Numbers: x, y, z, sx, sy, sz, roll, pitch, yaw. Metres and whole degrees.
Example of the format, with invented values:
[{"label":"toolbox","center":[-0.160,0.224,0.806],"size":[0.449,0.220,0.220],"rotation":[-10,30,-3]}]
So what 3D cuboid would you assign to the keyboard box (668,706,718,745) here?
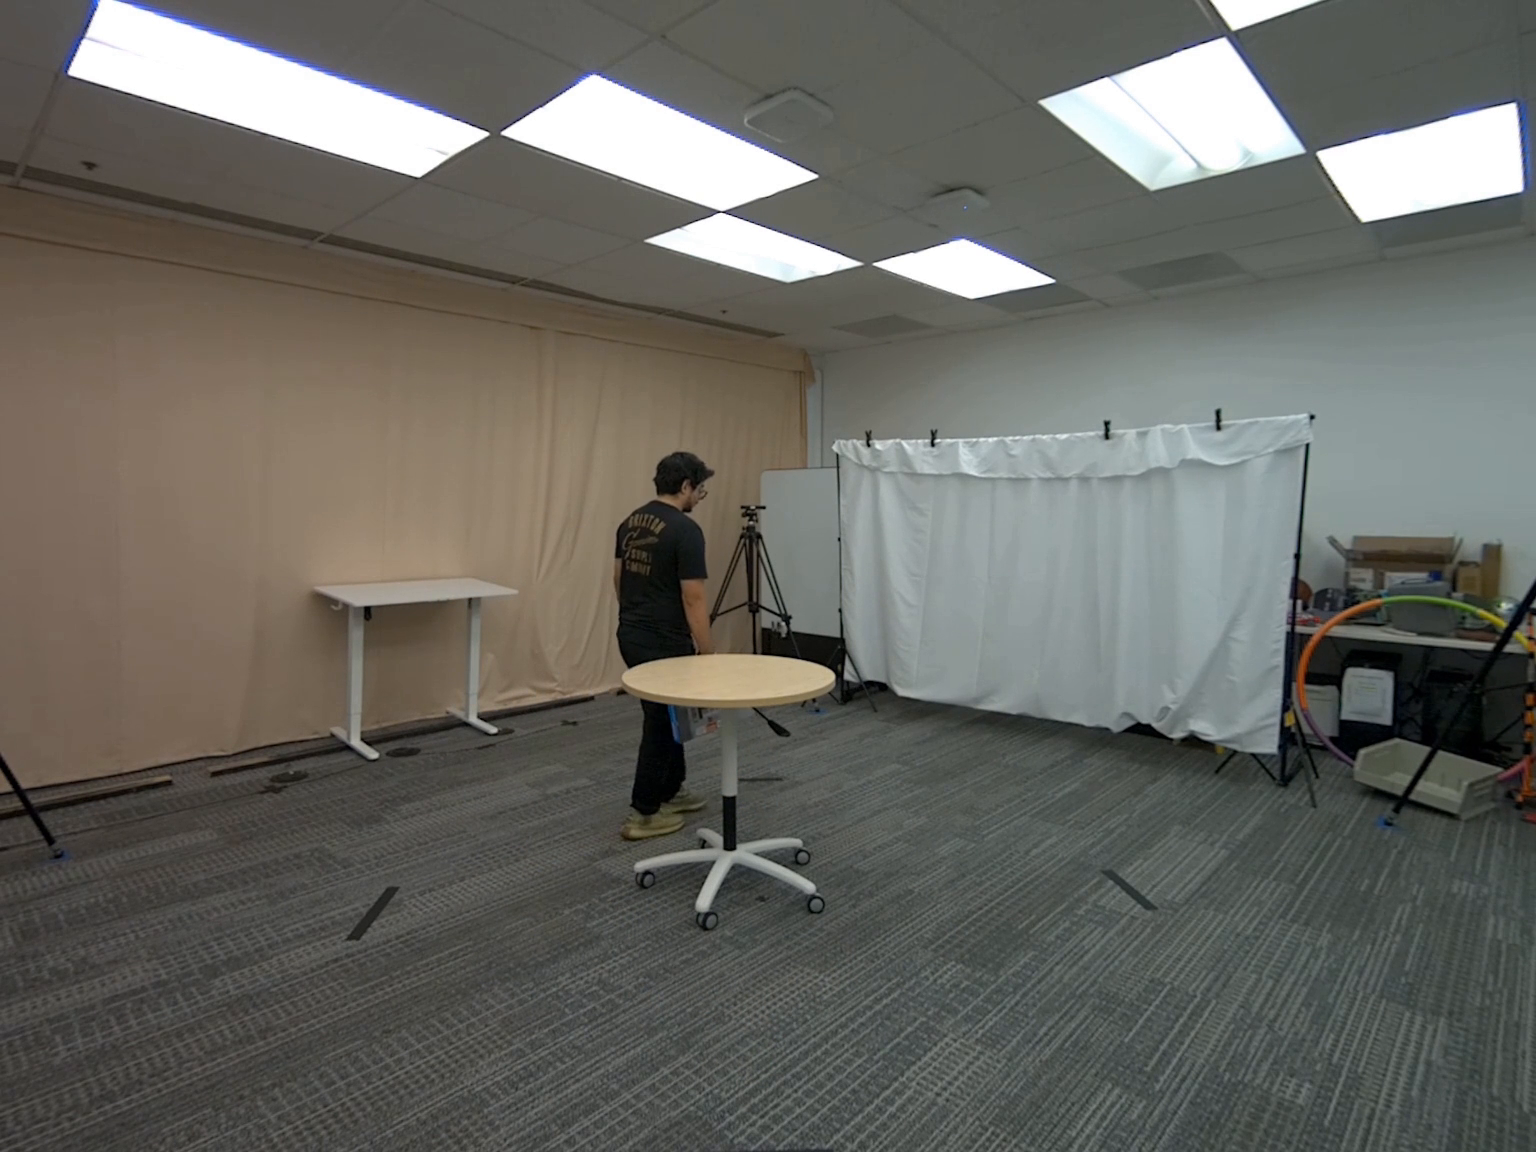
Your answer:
[{"label":"keyboard box","center":[-0.214,0.547,3.530],"size":[0.426,0.175,0.061],"rotation":[-15,9,-33]}]
